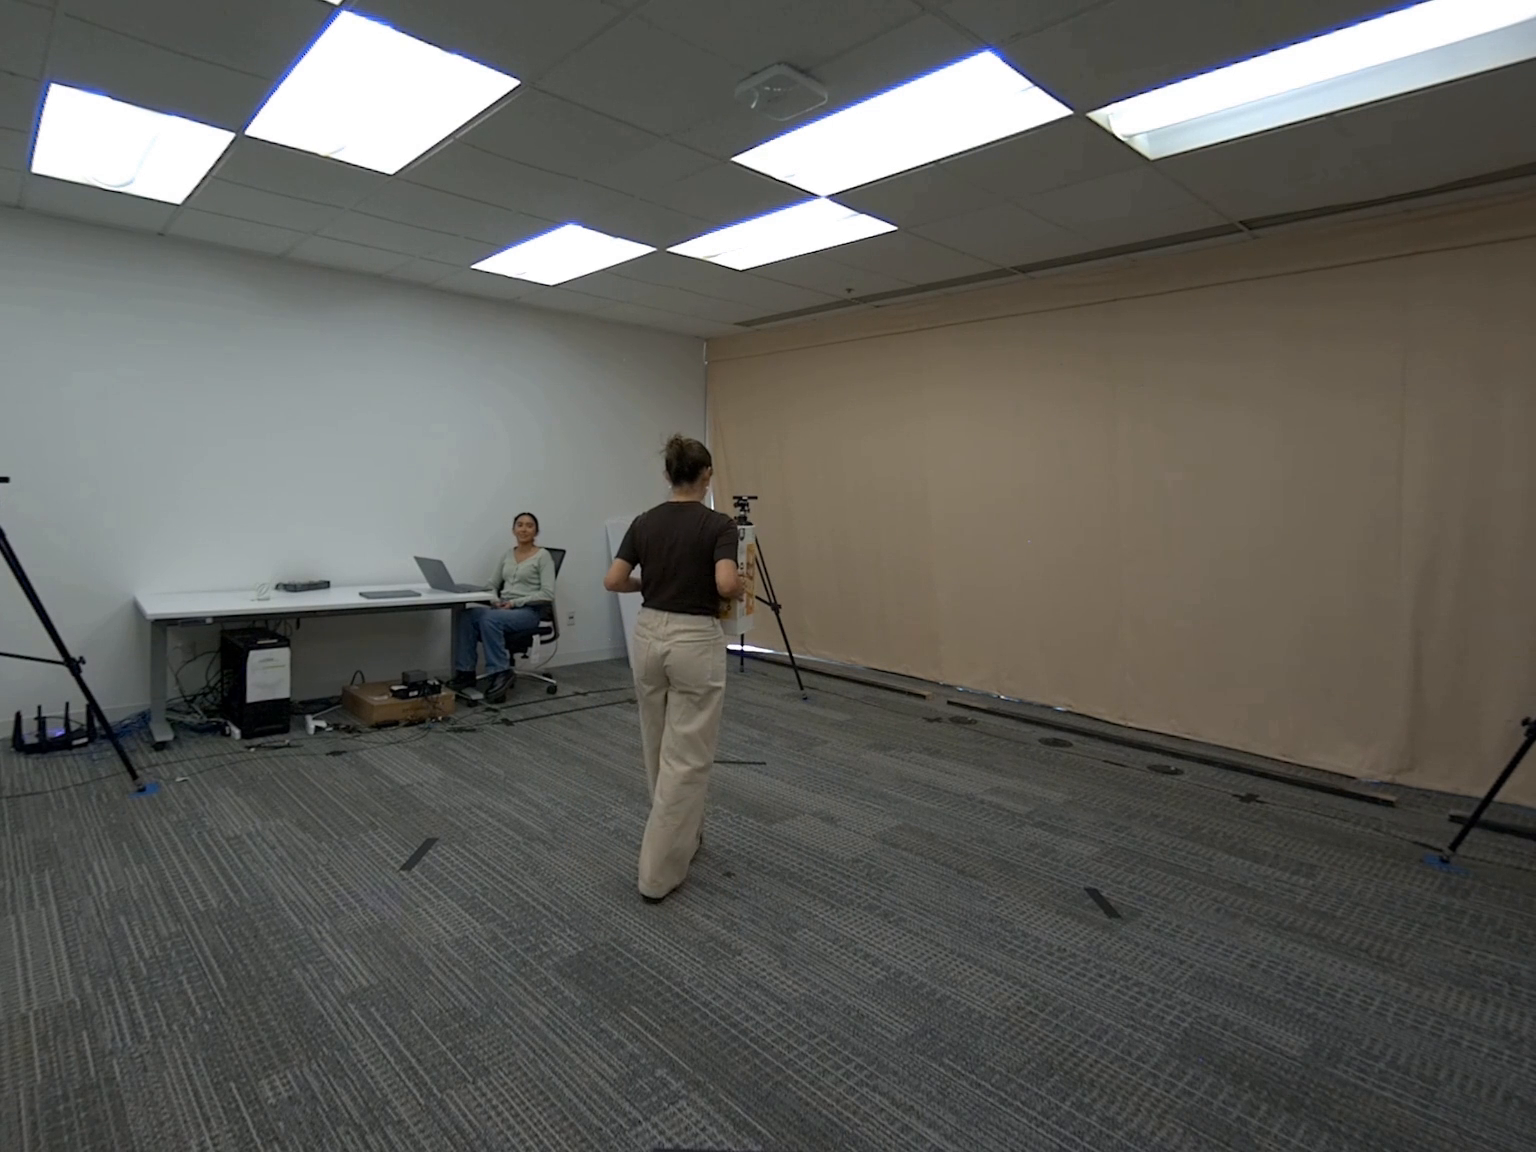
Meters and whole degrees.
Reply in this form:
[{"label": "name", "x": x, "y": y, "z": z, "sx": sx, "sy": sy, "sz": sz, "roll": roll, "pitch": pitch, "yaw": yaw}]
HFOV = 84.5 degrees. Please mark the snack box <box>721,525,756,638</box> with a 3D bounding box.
[{"label": "snack box", "x": -0.247, "y": 0.005, "z": 3.278, "sx": 0.346, "sy": 0.404, "sz": 0.203, "roll": 3, "pitch": 5, "yaw": 21}]
